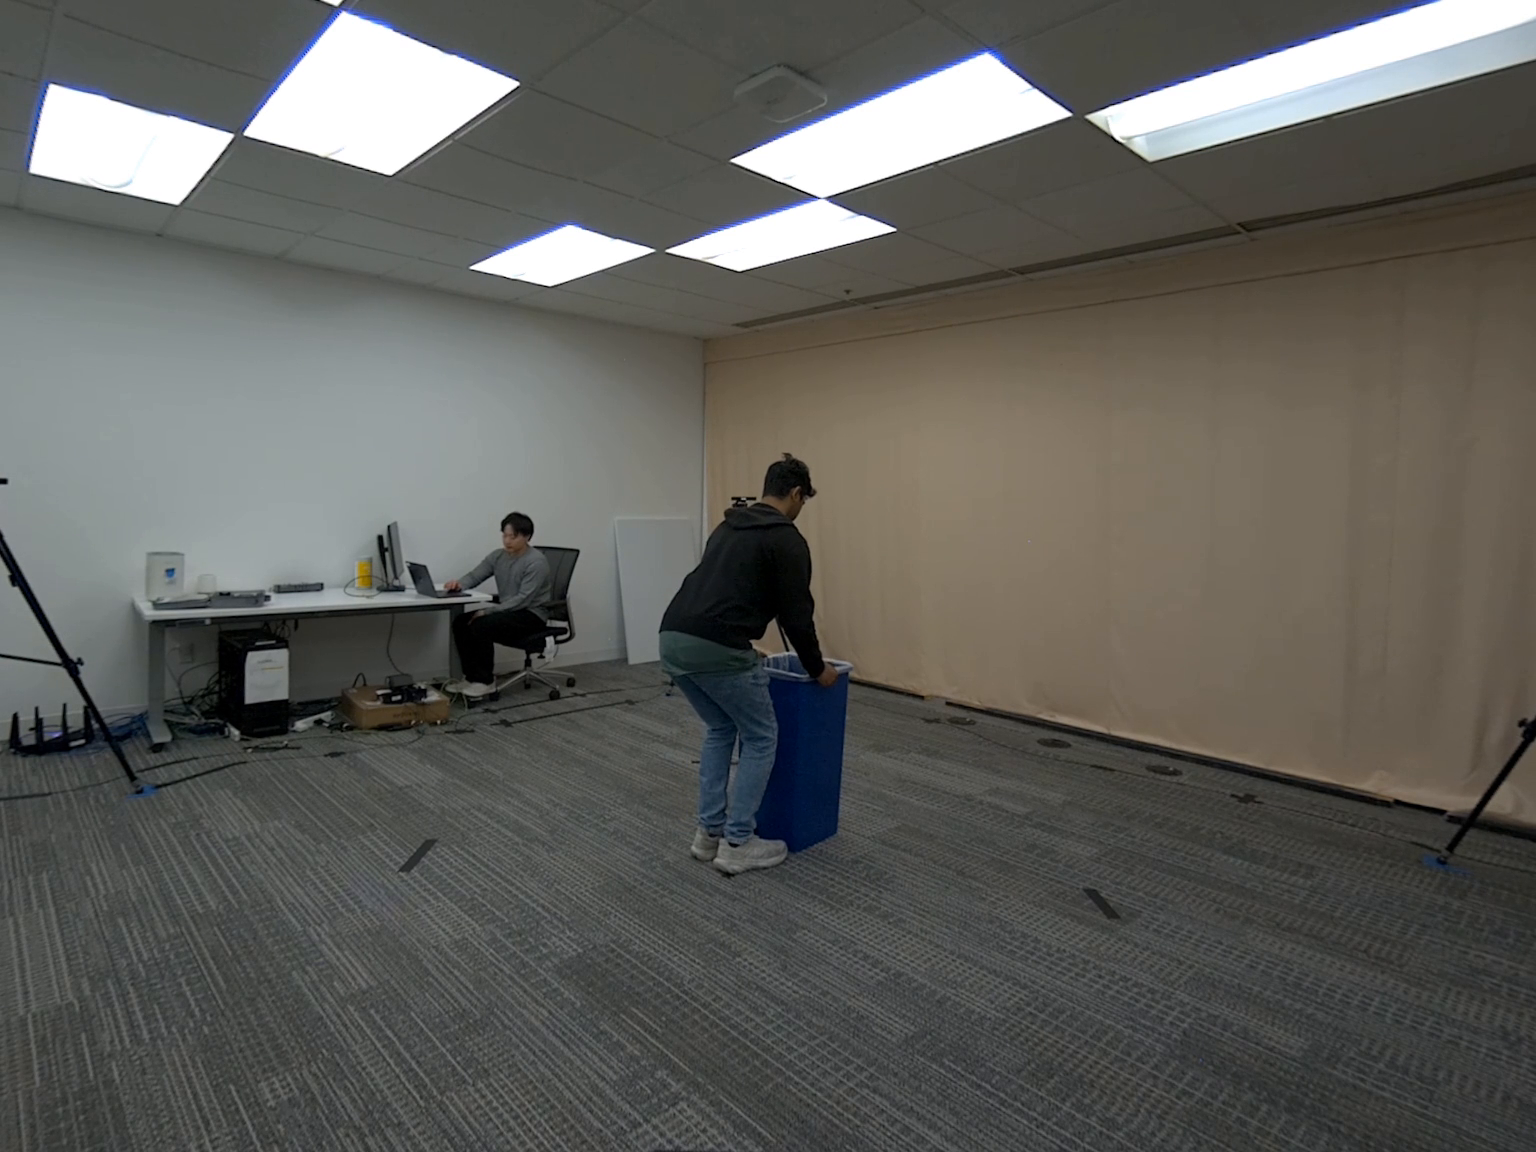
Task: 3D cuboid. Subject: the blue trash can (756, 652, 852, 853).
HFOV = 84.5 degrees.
[{"bbox_3d":[0.099,0.707,3.500,0.383,0.712,0.369,5,5,39],"label":"blue trash can"}]
